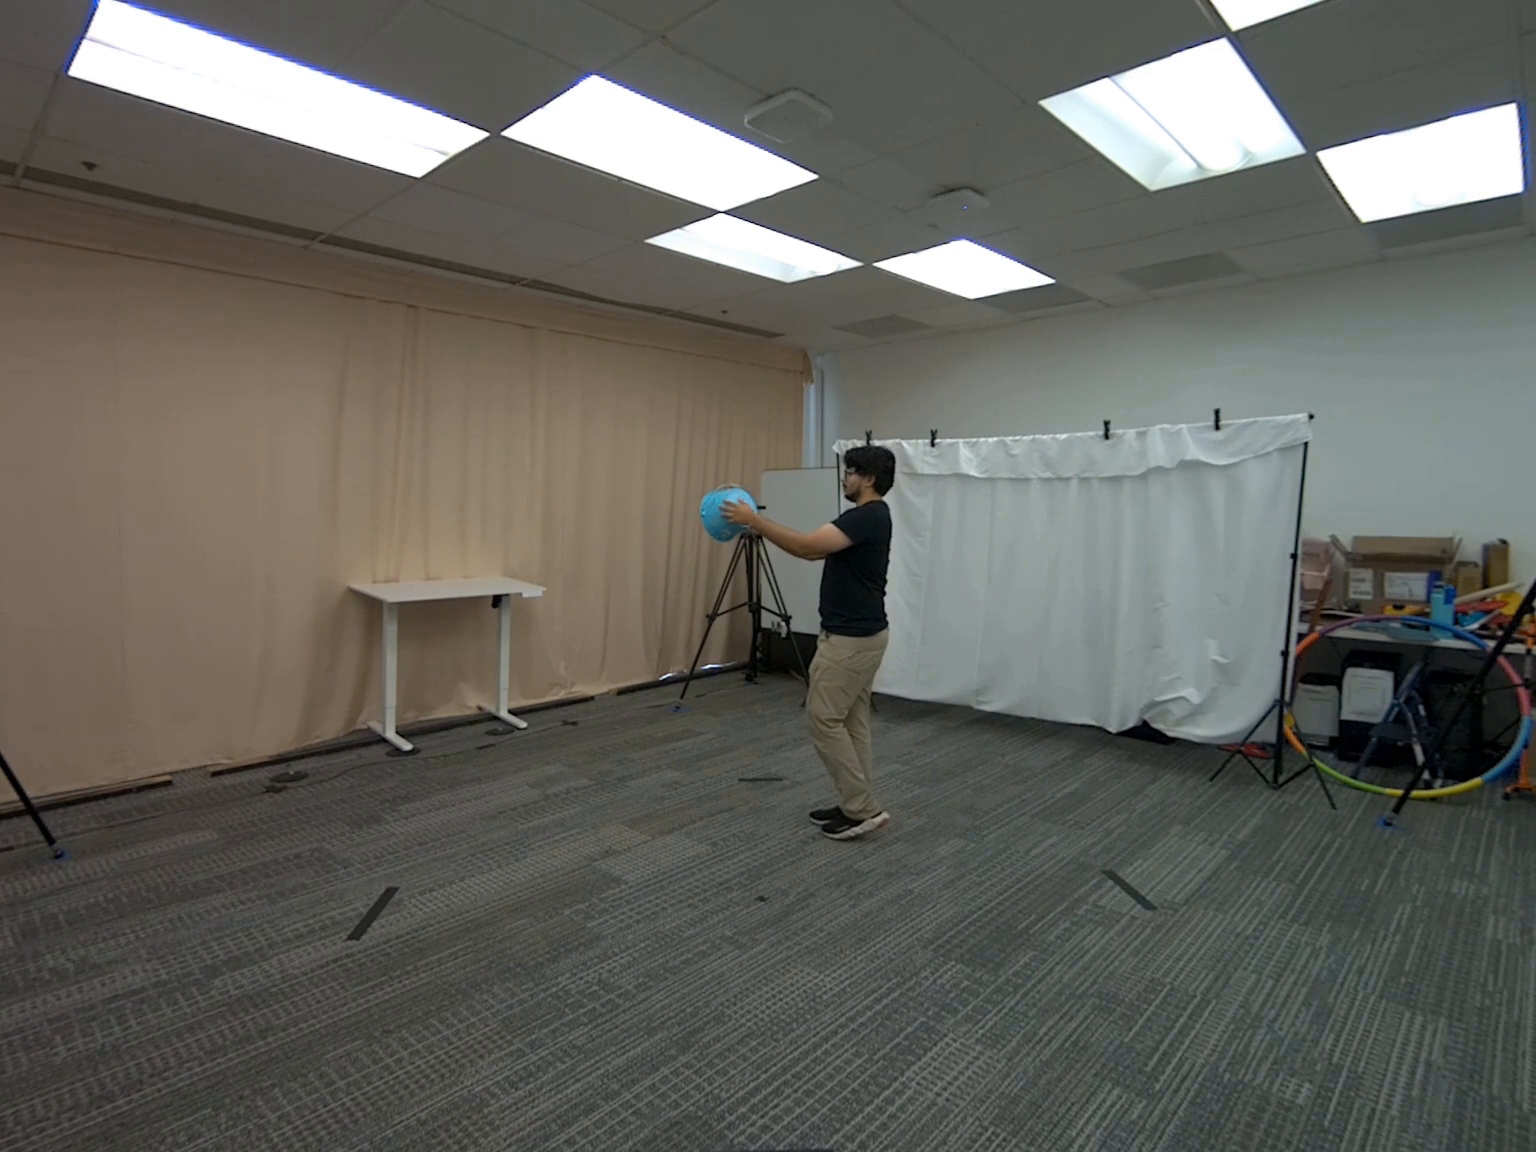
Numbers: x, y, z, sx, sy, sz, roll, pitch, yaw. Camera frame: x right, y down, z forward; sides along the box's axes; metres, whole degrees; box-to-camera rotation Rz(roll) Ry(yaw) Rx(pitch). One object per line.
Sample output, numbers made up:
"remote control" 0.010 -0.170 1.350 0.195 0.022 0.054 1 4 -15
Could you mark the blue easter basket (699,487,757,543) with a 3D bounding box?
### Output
"blue easter basket" -0.158 -0.275 3.721 0.236 0.245 0.160 -3 -10 -42
